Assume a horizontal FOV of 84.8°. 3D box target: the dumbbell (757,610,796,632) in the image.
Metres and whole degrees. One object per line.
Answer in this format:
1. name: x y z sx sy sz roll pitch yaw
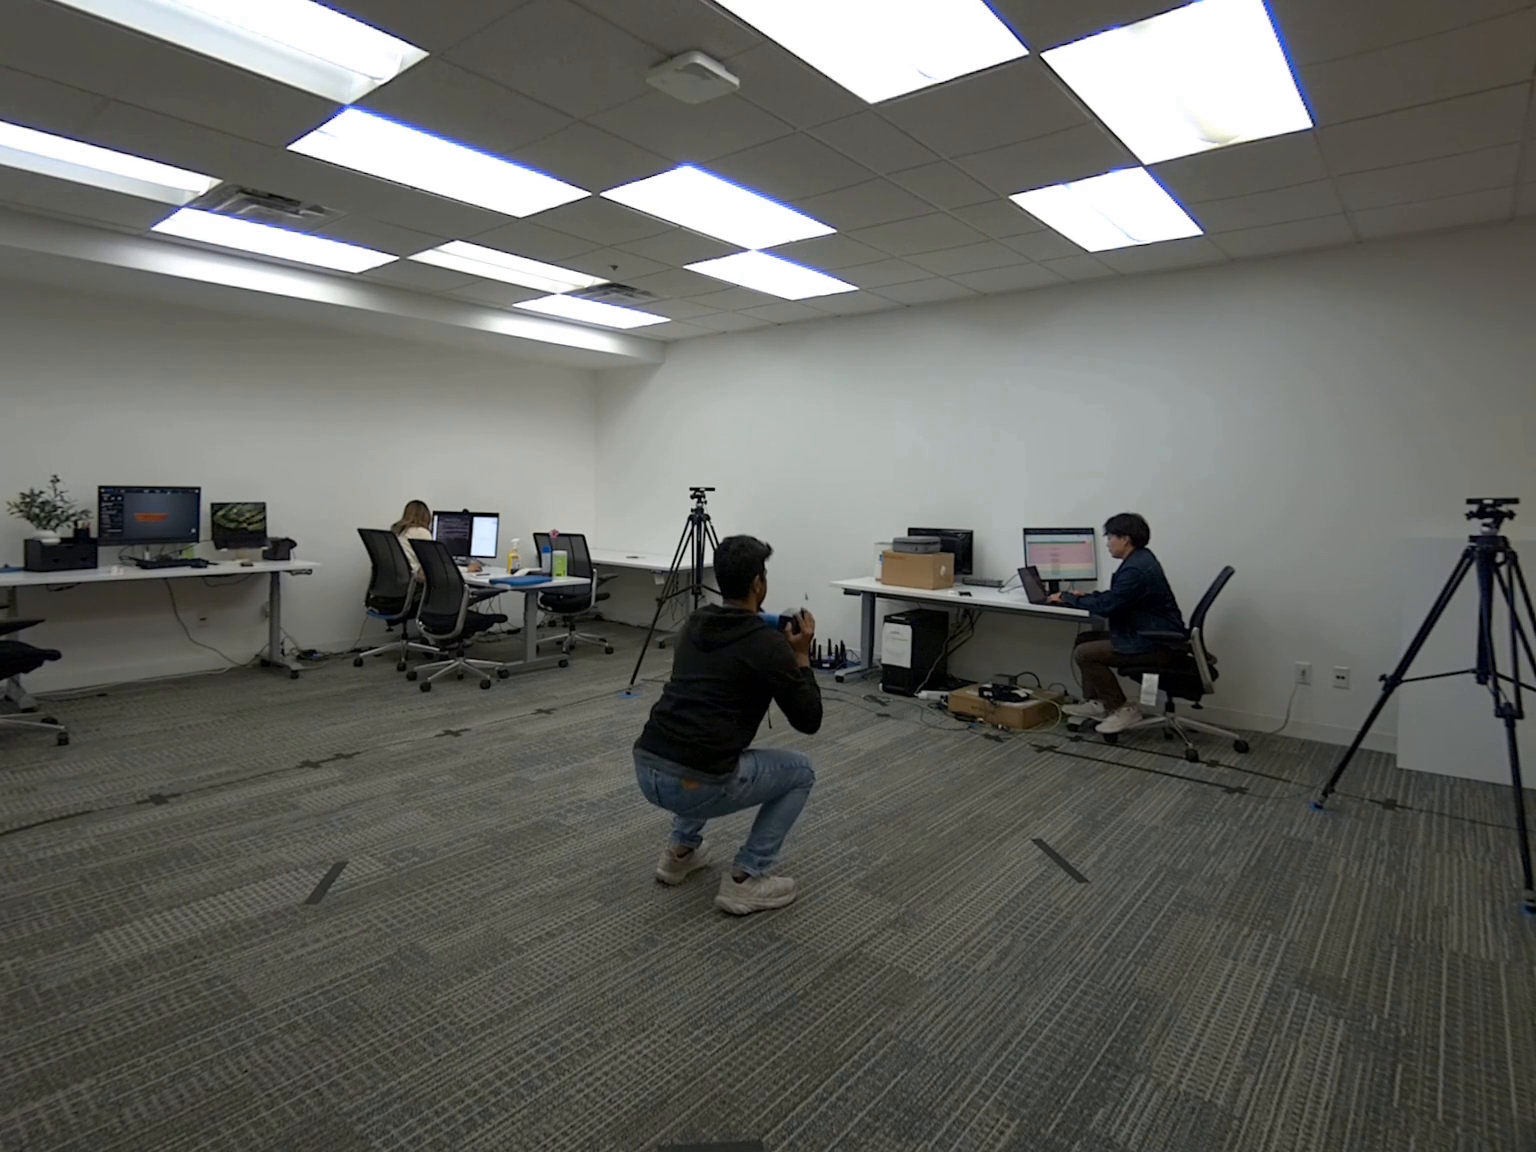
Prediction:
1. dumbbell: -0.003 0.166 3.148 0.303 0.123 0.105 4 -1 43
